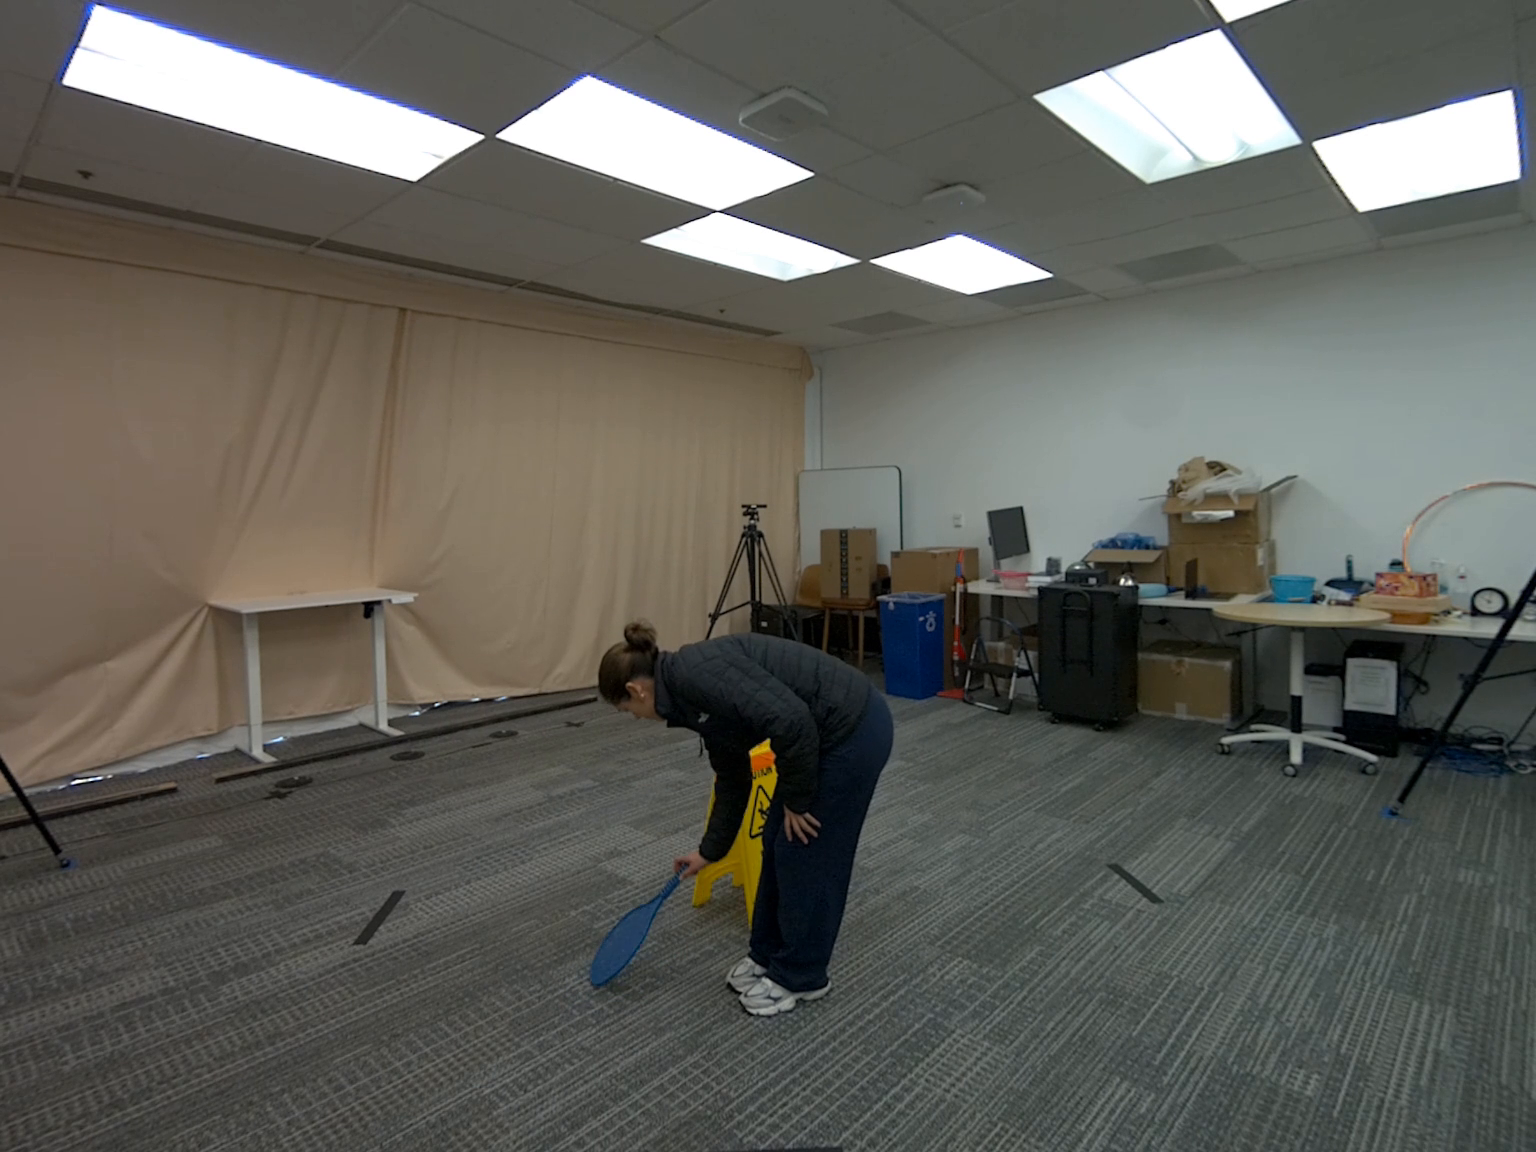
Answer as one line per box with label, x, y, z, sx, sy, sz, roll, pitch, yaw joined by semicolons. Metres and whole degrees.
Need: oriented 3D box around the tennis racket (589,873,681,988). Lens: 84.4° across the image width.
tennis racket;-0.350;1.028;2.513;0.031;0.432;0.218;44;-6;-18
